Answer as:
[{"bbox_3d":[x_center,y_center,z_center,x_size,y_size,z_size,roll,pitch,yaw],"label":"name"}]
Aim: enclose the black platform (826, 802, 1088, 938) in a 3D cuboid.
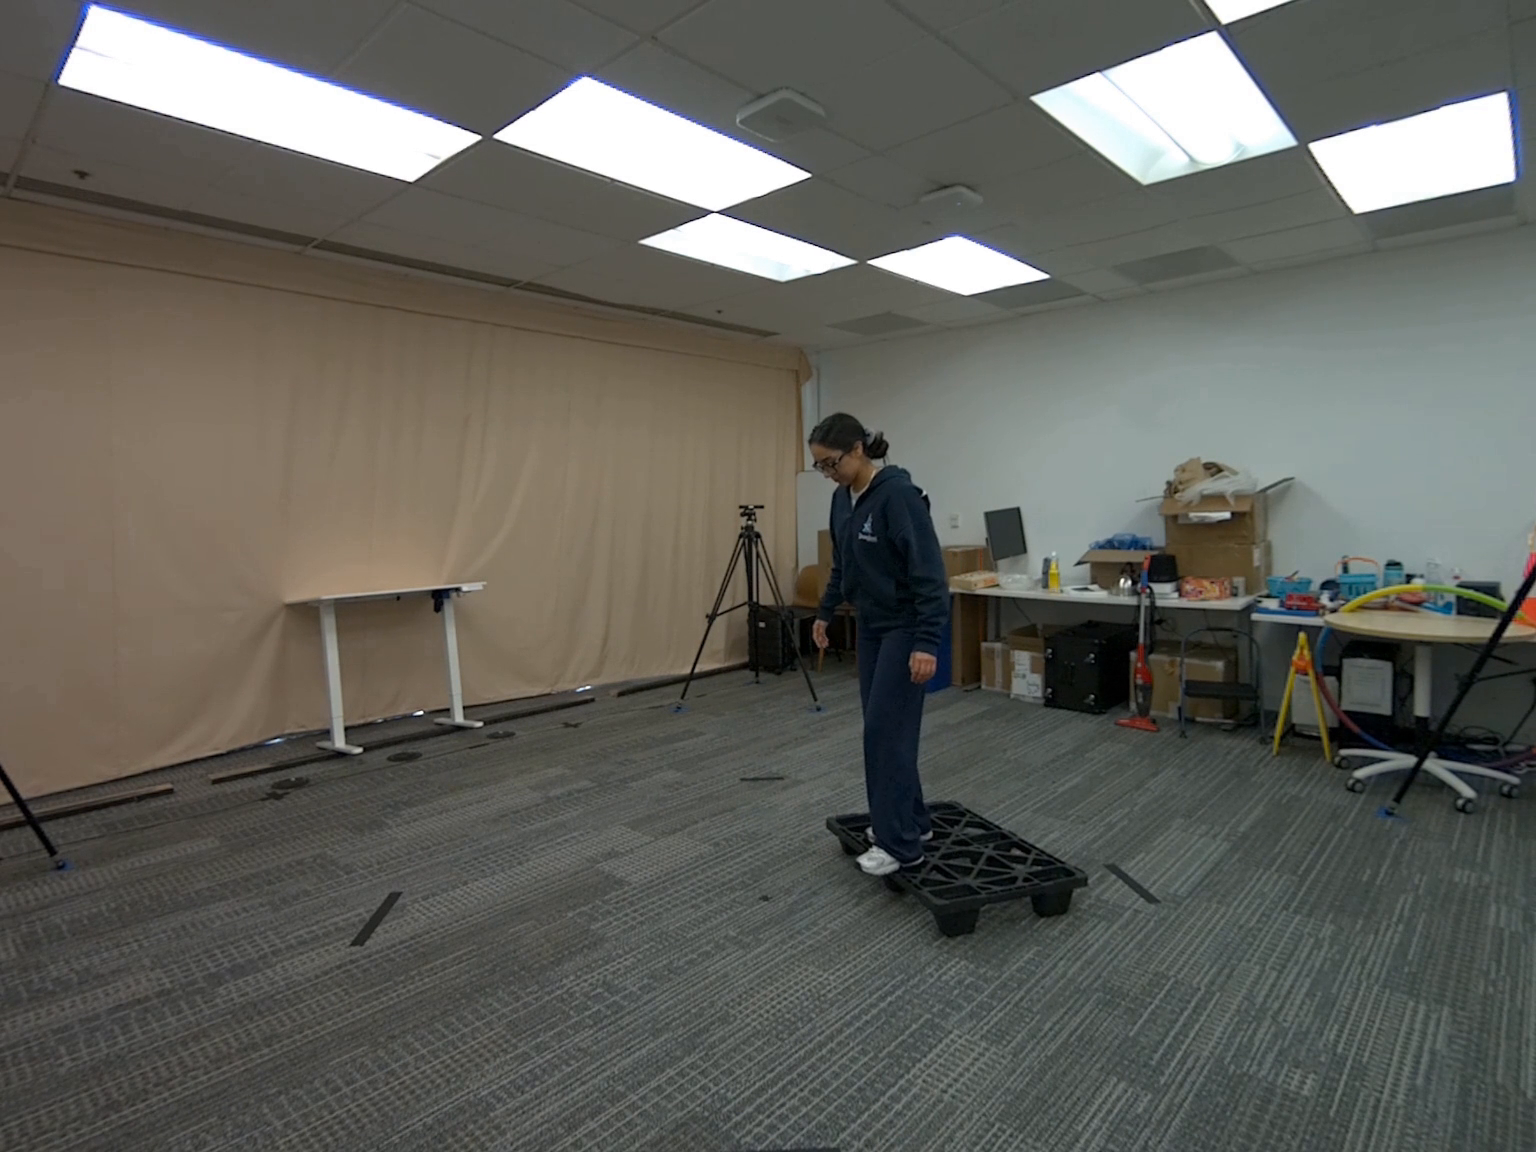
[{"bbox_3d":[0.656,1.050,3.092,0.593,0.143,0.823,-3,5,-20],"label":"black platform"}]
